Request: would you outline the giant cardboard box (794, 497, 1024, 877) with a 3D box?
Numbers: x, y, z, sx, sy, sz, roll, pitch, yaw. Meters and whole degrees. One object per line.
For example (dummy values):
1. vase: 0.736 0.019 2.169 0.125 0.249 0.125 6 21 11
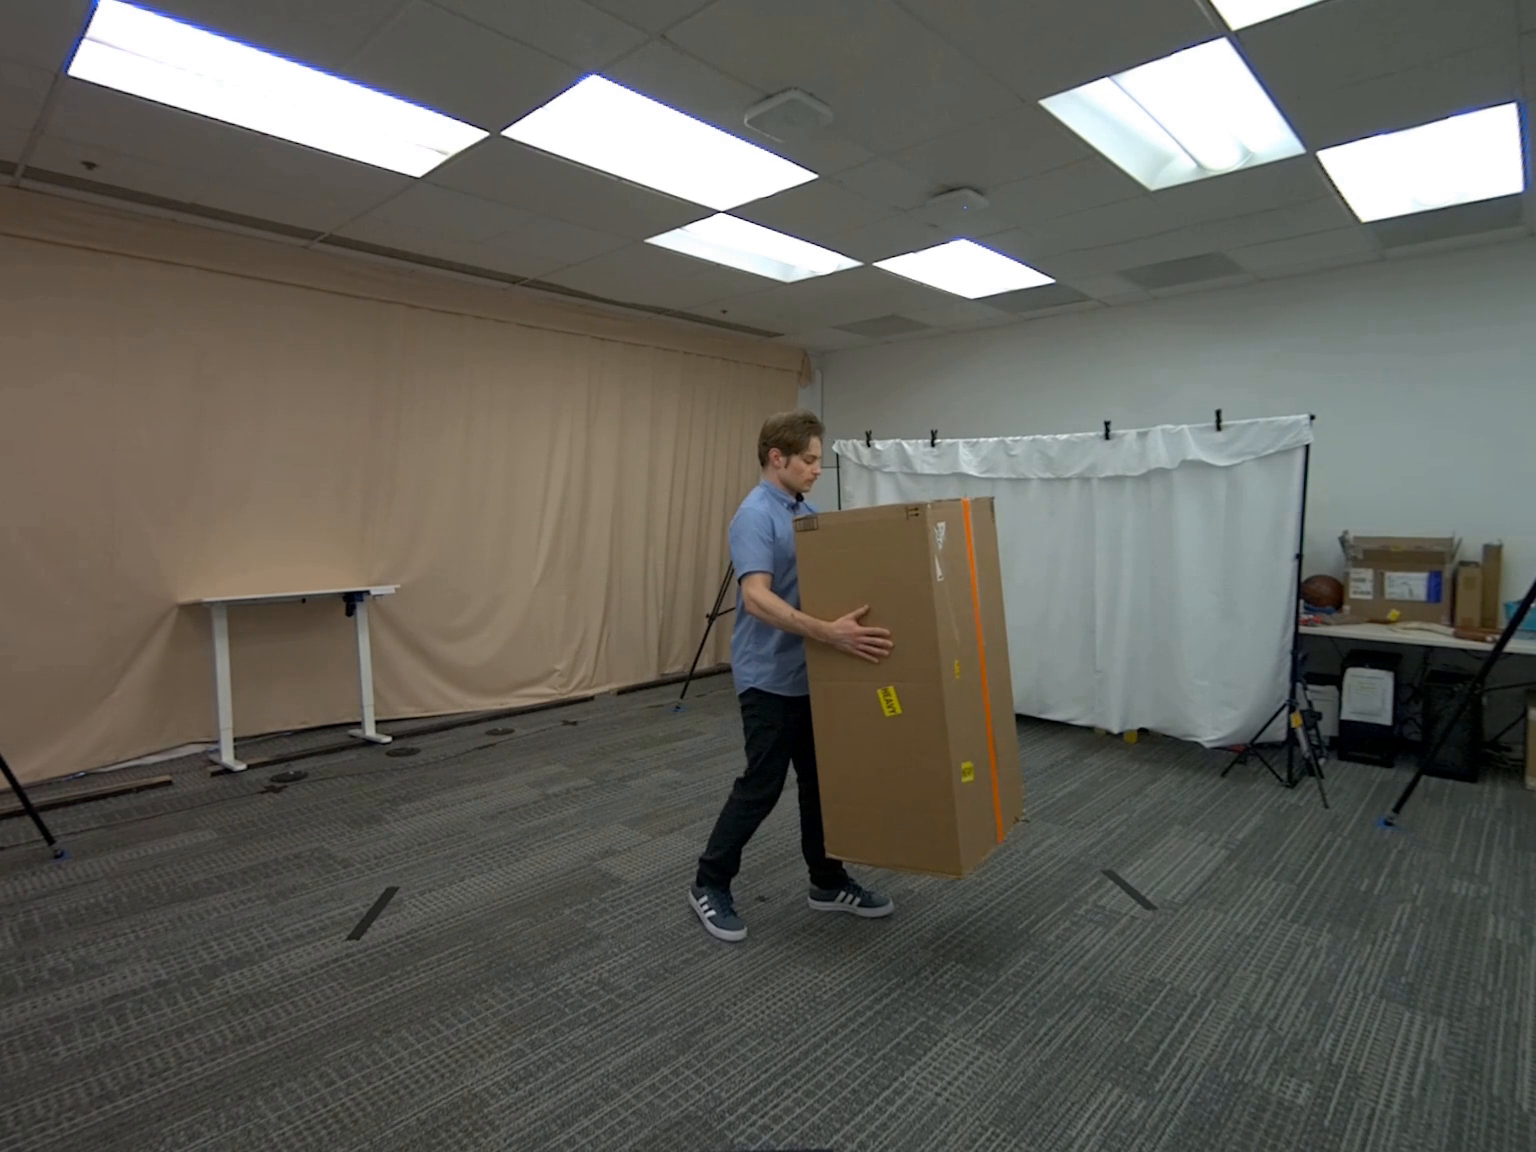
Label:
1. giant cardboard box: 0.456 0.293 2.588 0.439 1.025 0.561 -5 1 36
